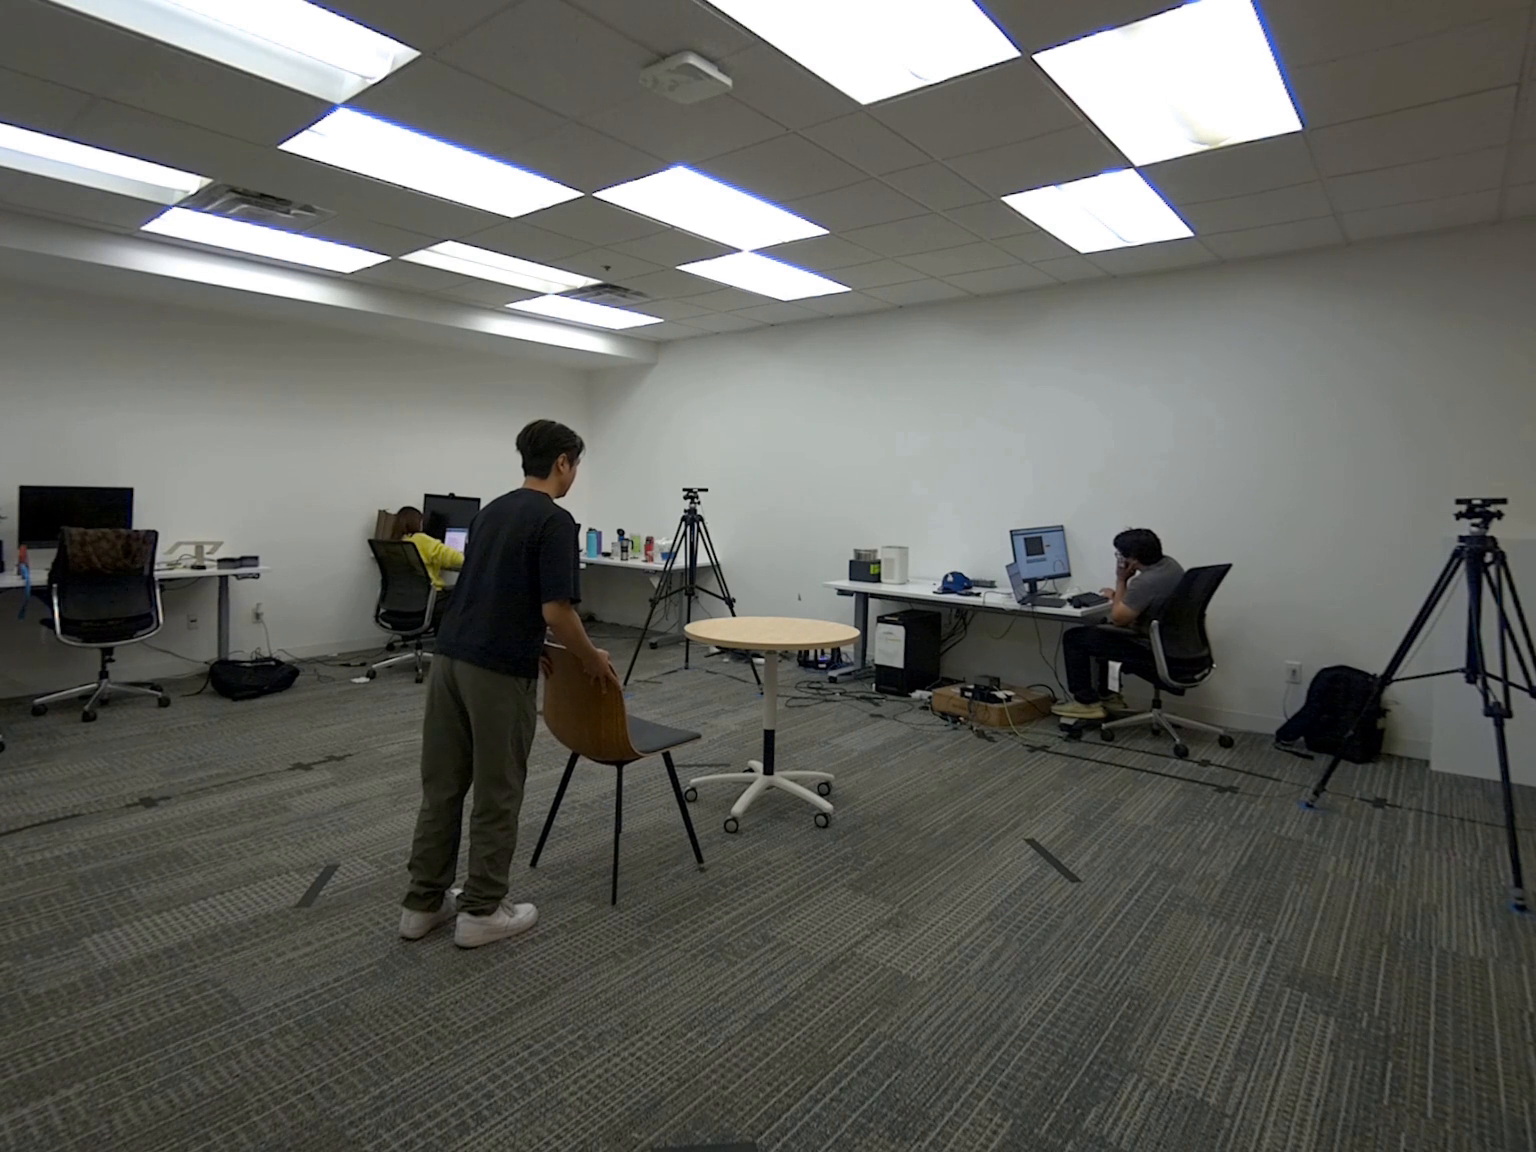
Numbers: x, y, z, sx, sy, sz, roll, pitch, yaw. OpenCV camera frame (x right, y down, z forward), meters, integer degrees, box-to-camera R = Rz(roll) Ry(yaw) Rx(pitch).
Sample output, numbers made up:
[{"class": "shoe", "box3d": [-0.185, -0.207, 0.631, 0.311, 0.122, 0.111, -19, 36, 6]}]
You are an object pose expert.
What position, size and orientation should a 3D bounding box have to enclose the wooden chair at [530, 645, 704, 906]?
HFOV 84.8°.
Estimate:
[{"class": "wooden chair", "box3d": [-0.549, 0.635, 3.113, 0.494, 0.872, 0.509, 3, 8, 38]}]
